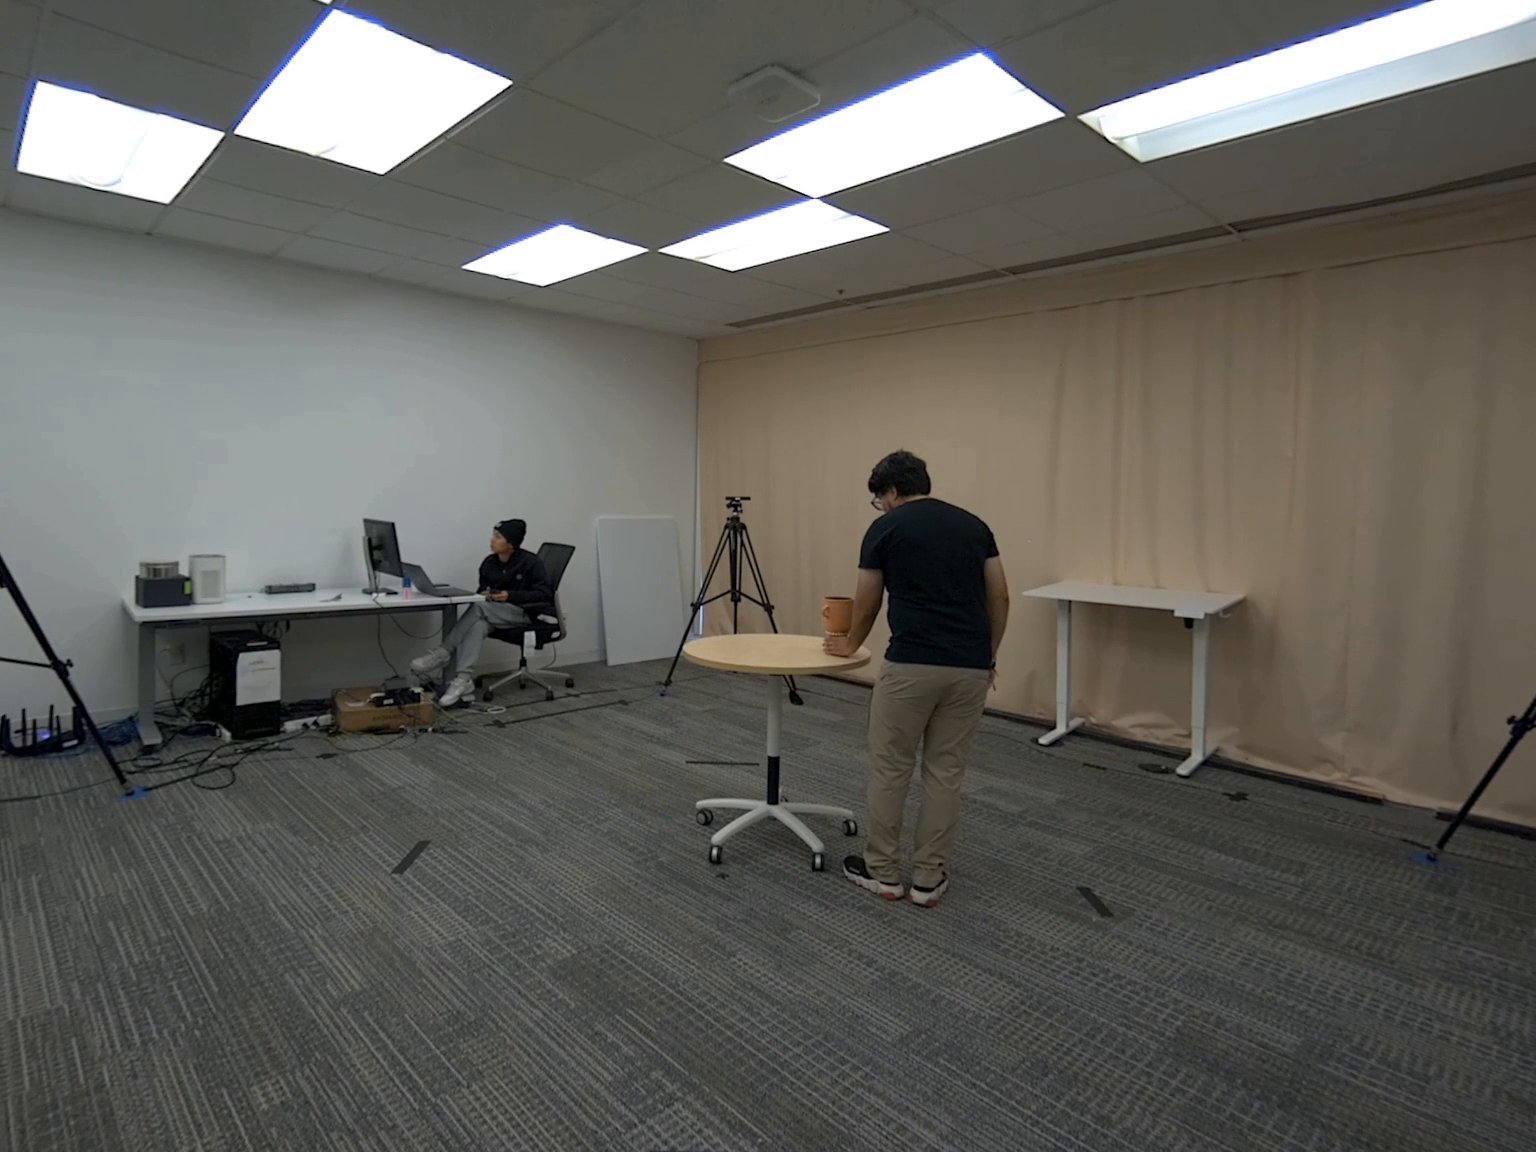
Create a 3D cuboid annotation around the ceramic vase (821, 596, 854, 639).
[{"bbox_3d":[0.272,0.199,3.376,0.158,0.219,0.135,1,3,-7],"label":"ceramic vase"}]
